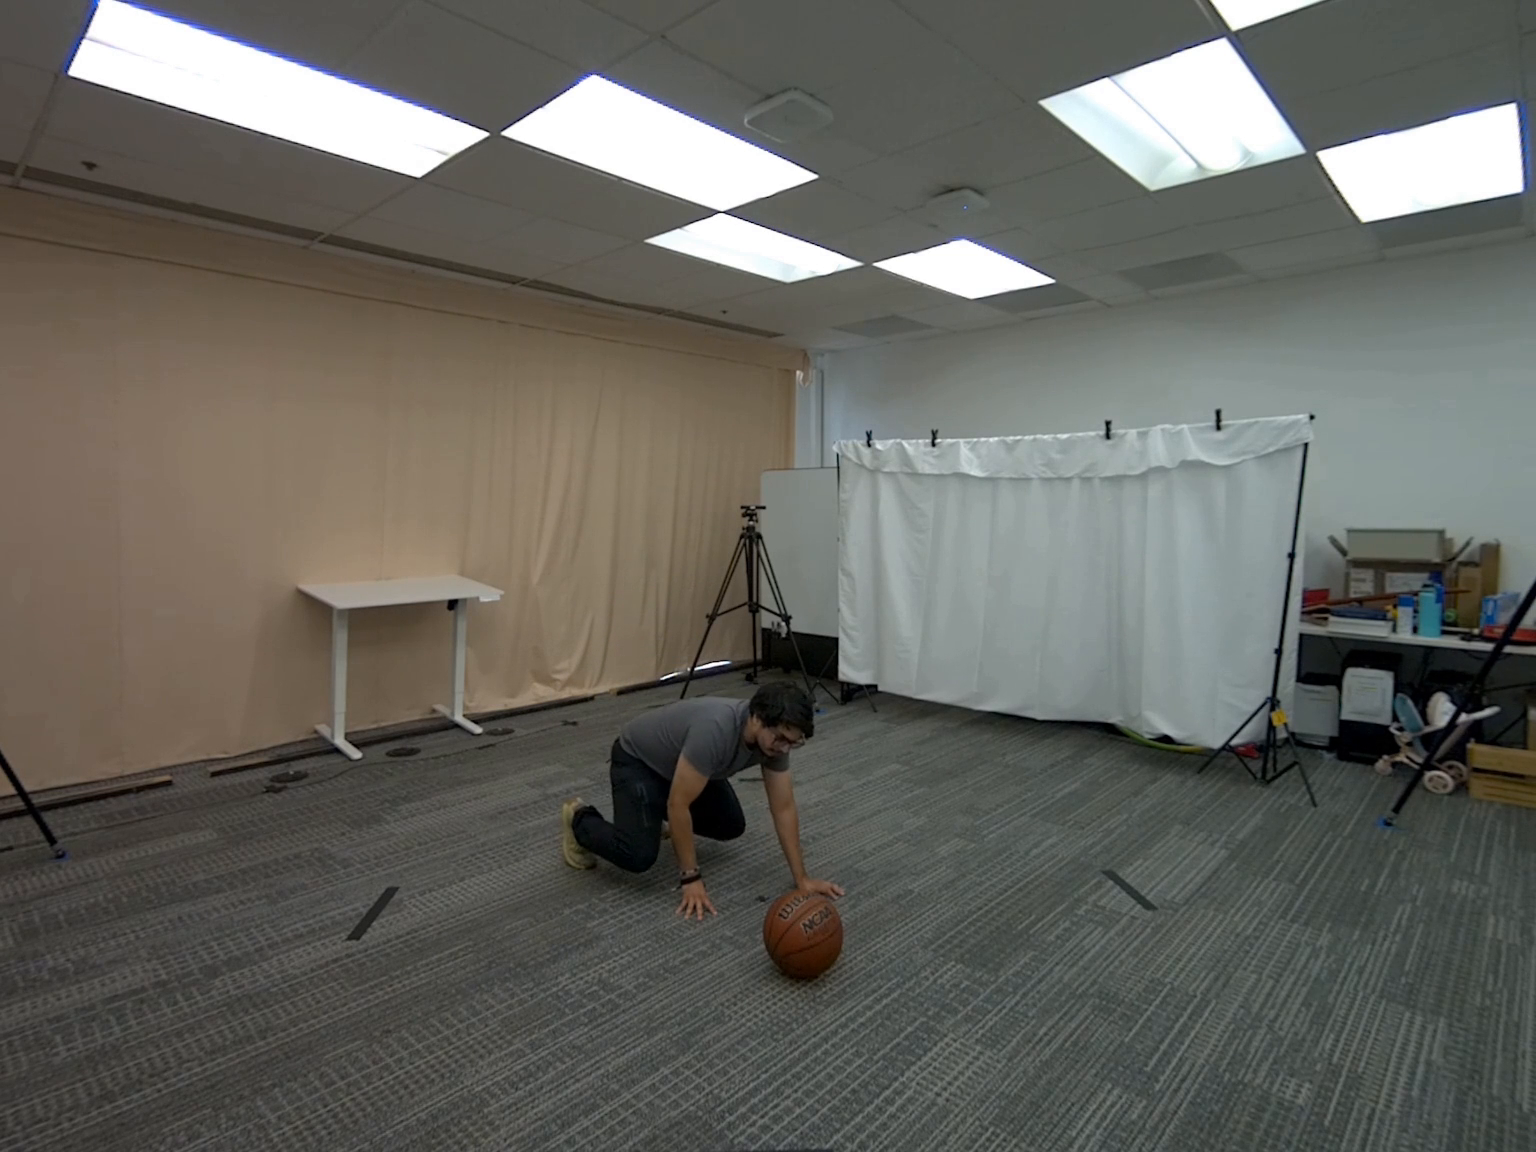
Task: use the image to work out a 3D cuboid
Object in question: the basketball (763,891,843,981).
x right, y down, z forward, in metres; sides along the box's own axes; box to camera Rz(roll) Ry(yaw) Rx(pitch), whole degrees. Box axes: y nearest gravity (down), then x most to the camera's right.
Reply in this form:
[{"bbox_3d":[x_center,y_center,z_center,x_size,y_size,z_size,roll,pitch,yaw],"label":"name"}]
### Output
[{"bbox_3d":[0.109,1.063,2.505,0.236,0.235,0.237,0,4,-2],"label":"basketball"}]
